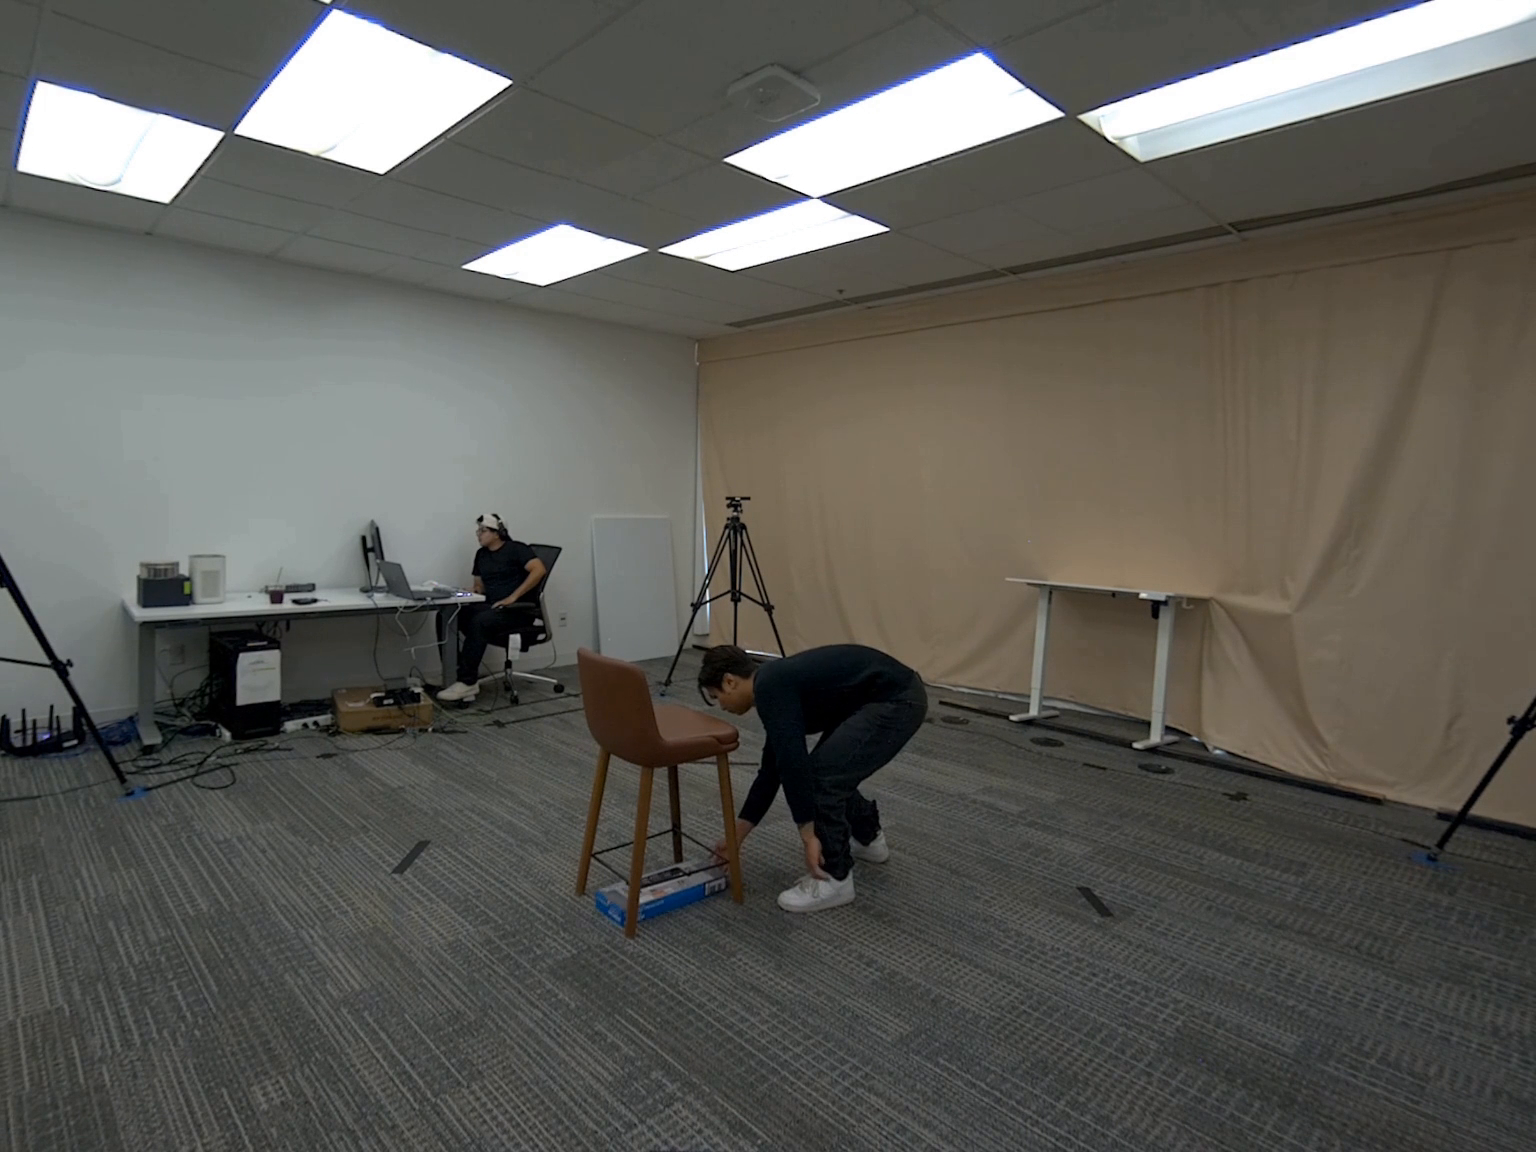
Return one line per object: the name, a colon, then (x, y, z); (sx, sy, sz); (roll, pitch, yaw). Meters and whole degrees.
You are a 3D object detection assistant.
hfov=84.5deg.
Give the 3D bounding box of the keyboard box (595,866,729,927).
keyboard box: (-0.361, 1.089, 2.910); (0.427, 0.059, 0.180); (-3, 7, -40)
